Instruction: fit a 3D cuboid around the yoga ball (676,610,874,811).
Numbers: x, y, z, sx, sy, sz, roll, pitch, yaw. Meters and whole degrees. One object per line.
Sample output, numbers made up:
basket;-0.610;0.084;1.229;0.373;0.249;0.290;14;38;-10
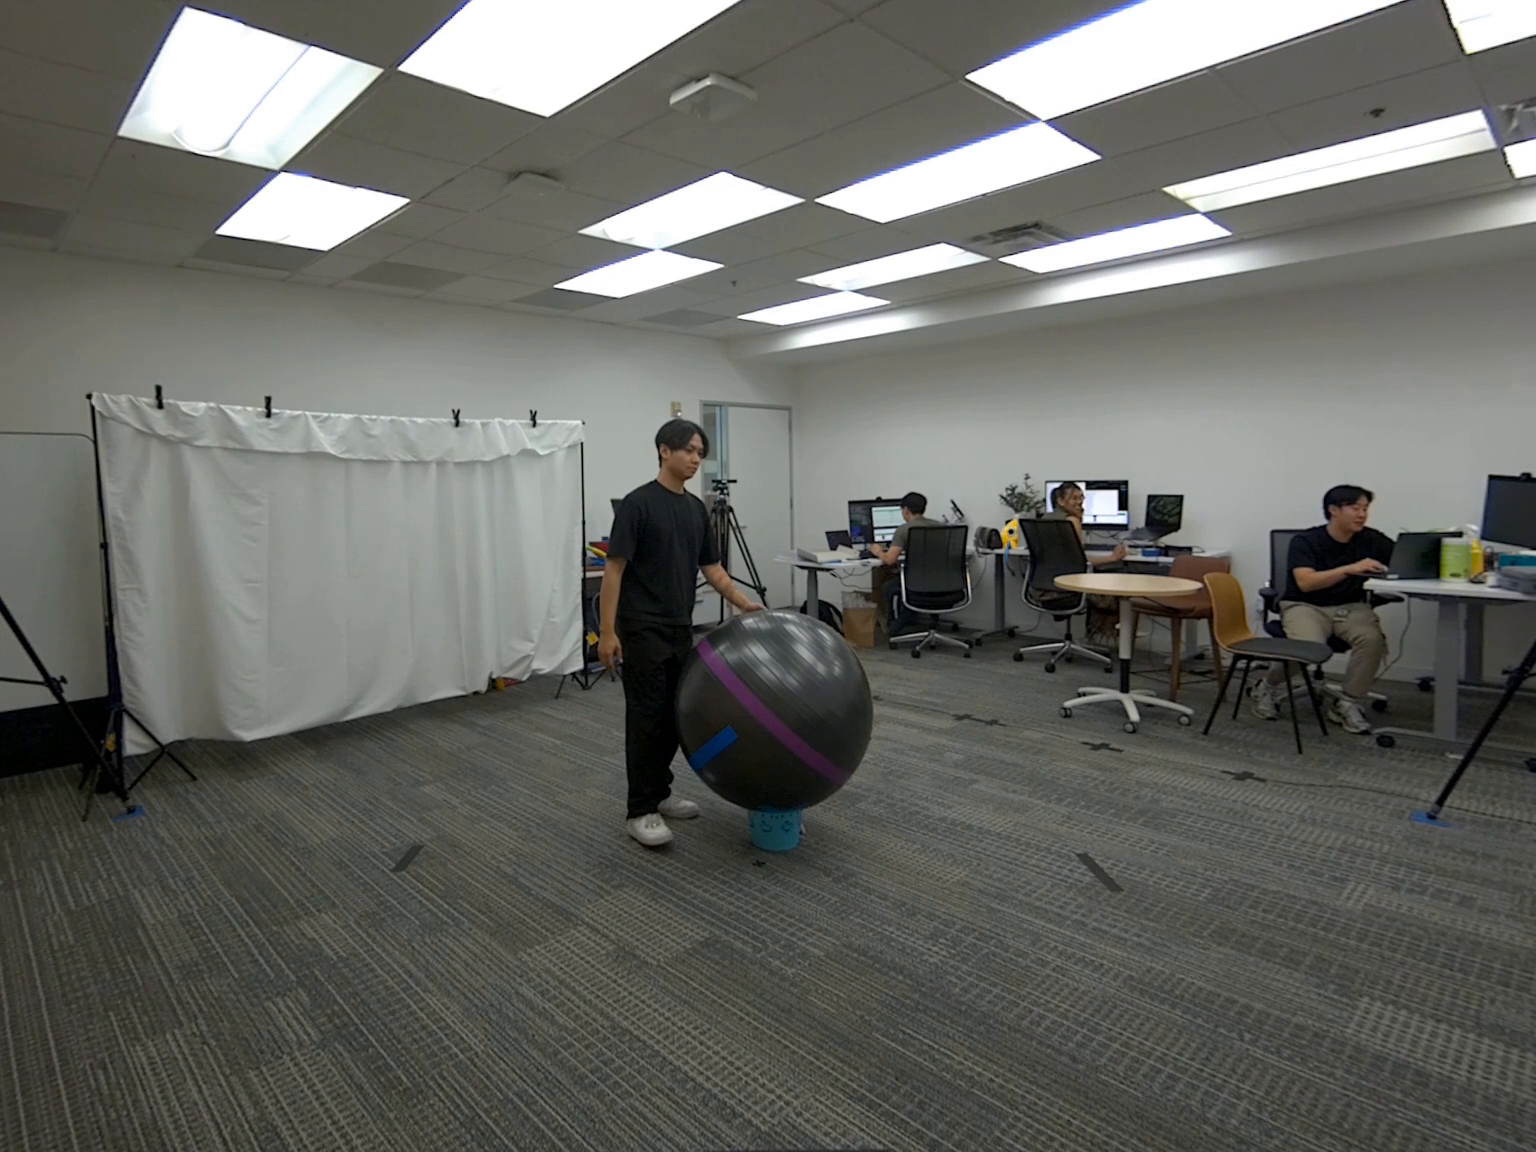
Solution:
yoga ball;0.028;0.517;3.284;0.757;0.755;0.762;-1;5;-2
